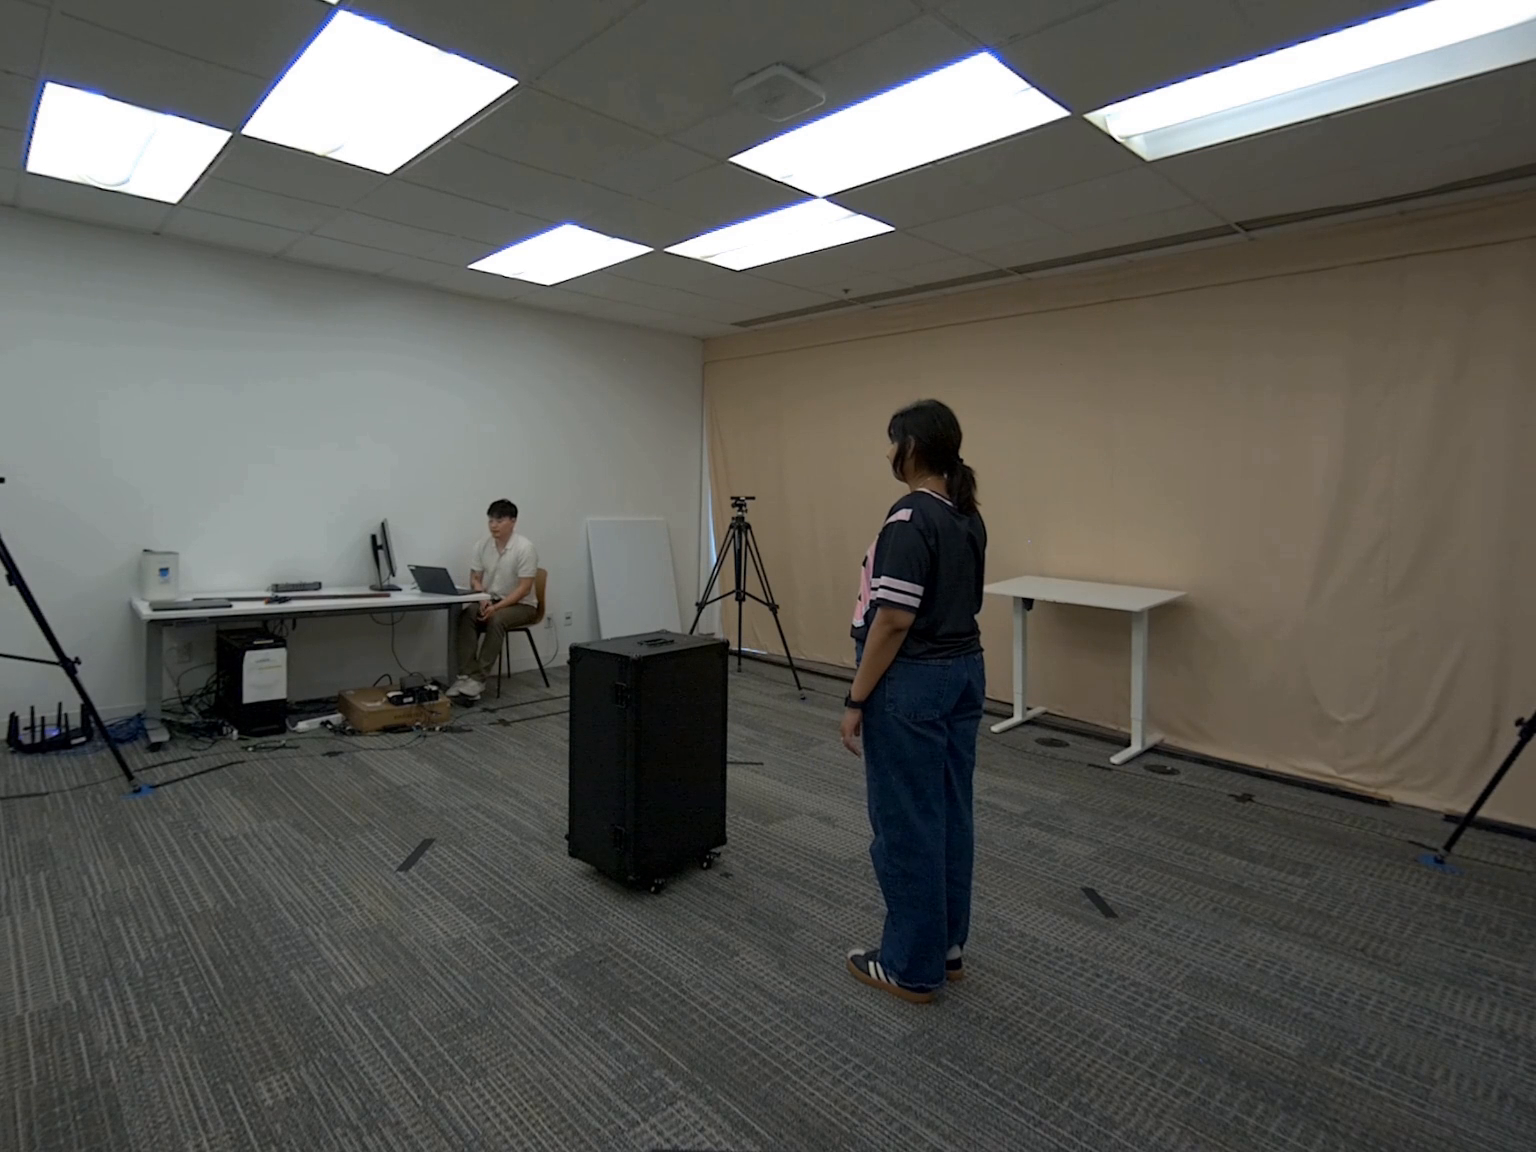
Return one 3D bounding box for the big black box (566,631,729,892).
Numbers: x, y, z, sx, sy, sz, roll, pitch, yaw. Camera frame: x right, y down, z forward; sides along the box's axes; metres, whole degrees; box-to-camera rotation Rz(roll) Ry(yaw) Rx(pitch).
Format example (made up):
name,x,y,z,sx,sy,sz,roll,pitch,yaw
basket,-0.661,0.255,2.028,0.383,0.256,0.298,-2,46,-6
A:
name,x,y,z,sx,sy,sz,roll,pitch,yaw
big black box,-0.454,0.673,3.126,0.395,0.867,0.512,3,4,39
